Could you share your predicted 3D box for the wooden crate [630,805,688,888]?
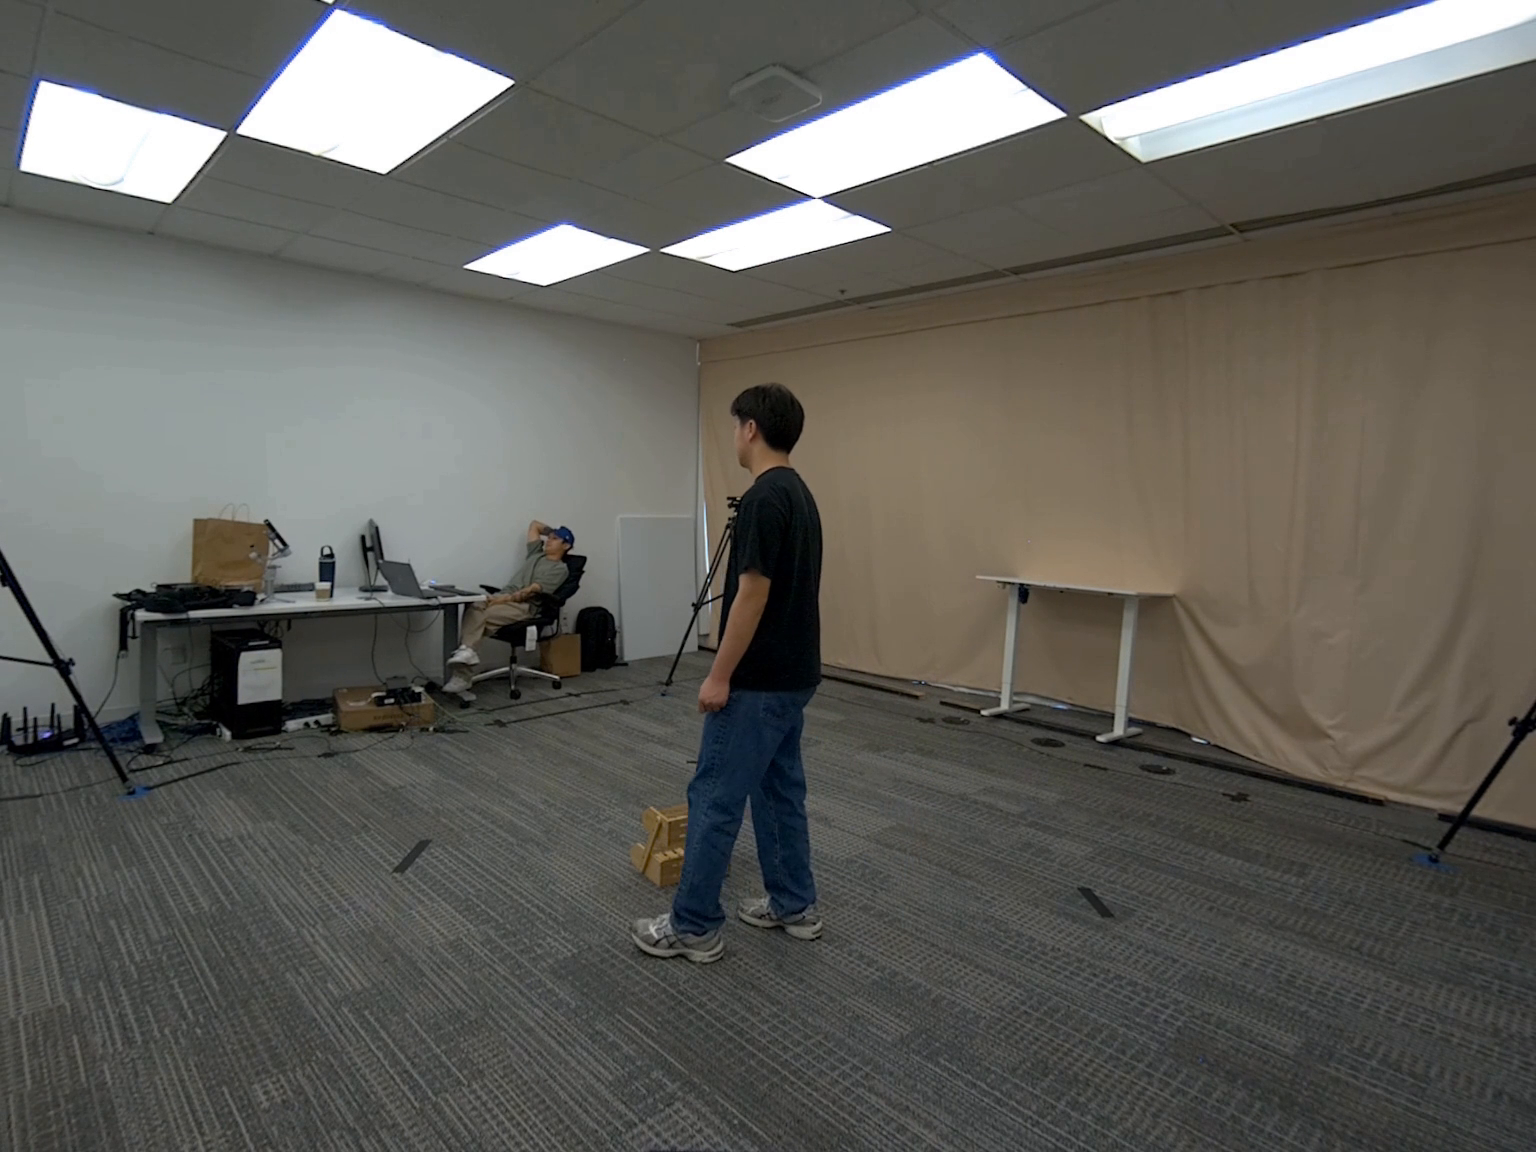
[{"bbox_3d":[-0.321,0.966,3.153,0.317,0.272,0.309,-1,6,-34],"label":"wooden crate"}]
